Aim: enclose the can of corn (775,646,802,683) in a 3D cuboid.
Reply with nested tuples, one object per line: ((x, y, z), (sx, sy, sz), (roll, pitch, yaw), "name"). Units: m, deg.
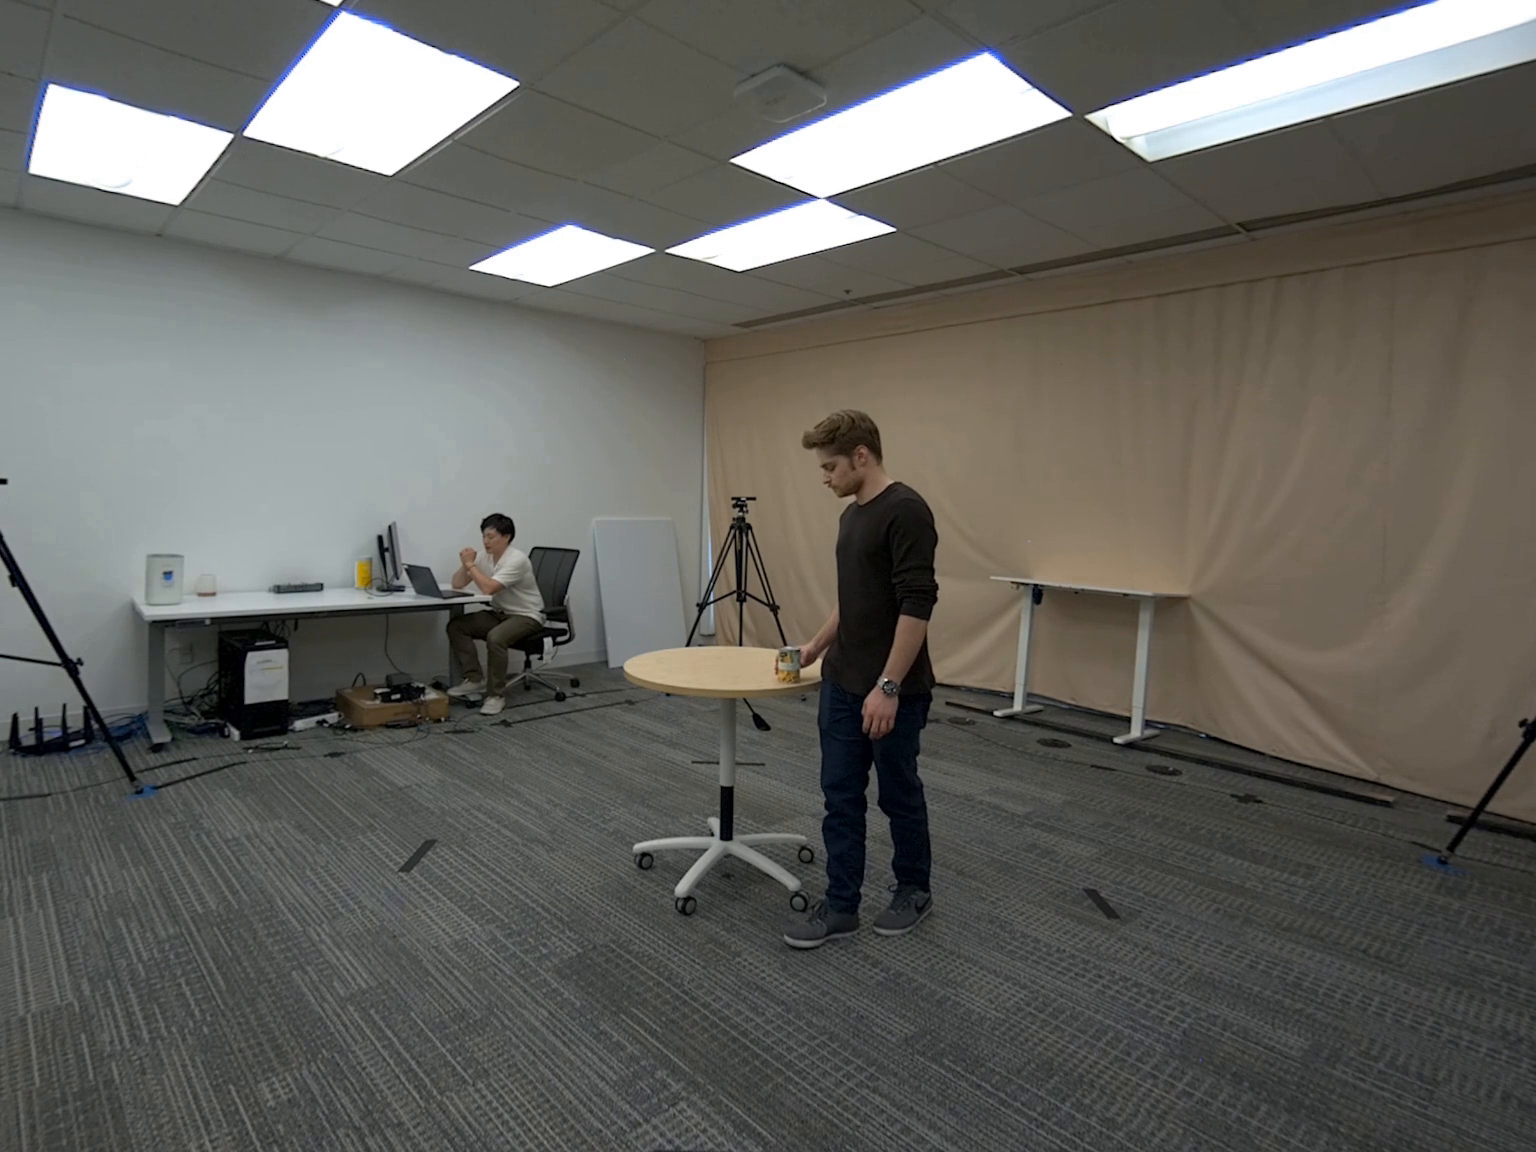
((0.067, 0.298, 2.815), (0.074, 0.111, 0.074), (3, 2, -1), "can of corn")
